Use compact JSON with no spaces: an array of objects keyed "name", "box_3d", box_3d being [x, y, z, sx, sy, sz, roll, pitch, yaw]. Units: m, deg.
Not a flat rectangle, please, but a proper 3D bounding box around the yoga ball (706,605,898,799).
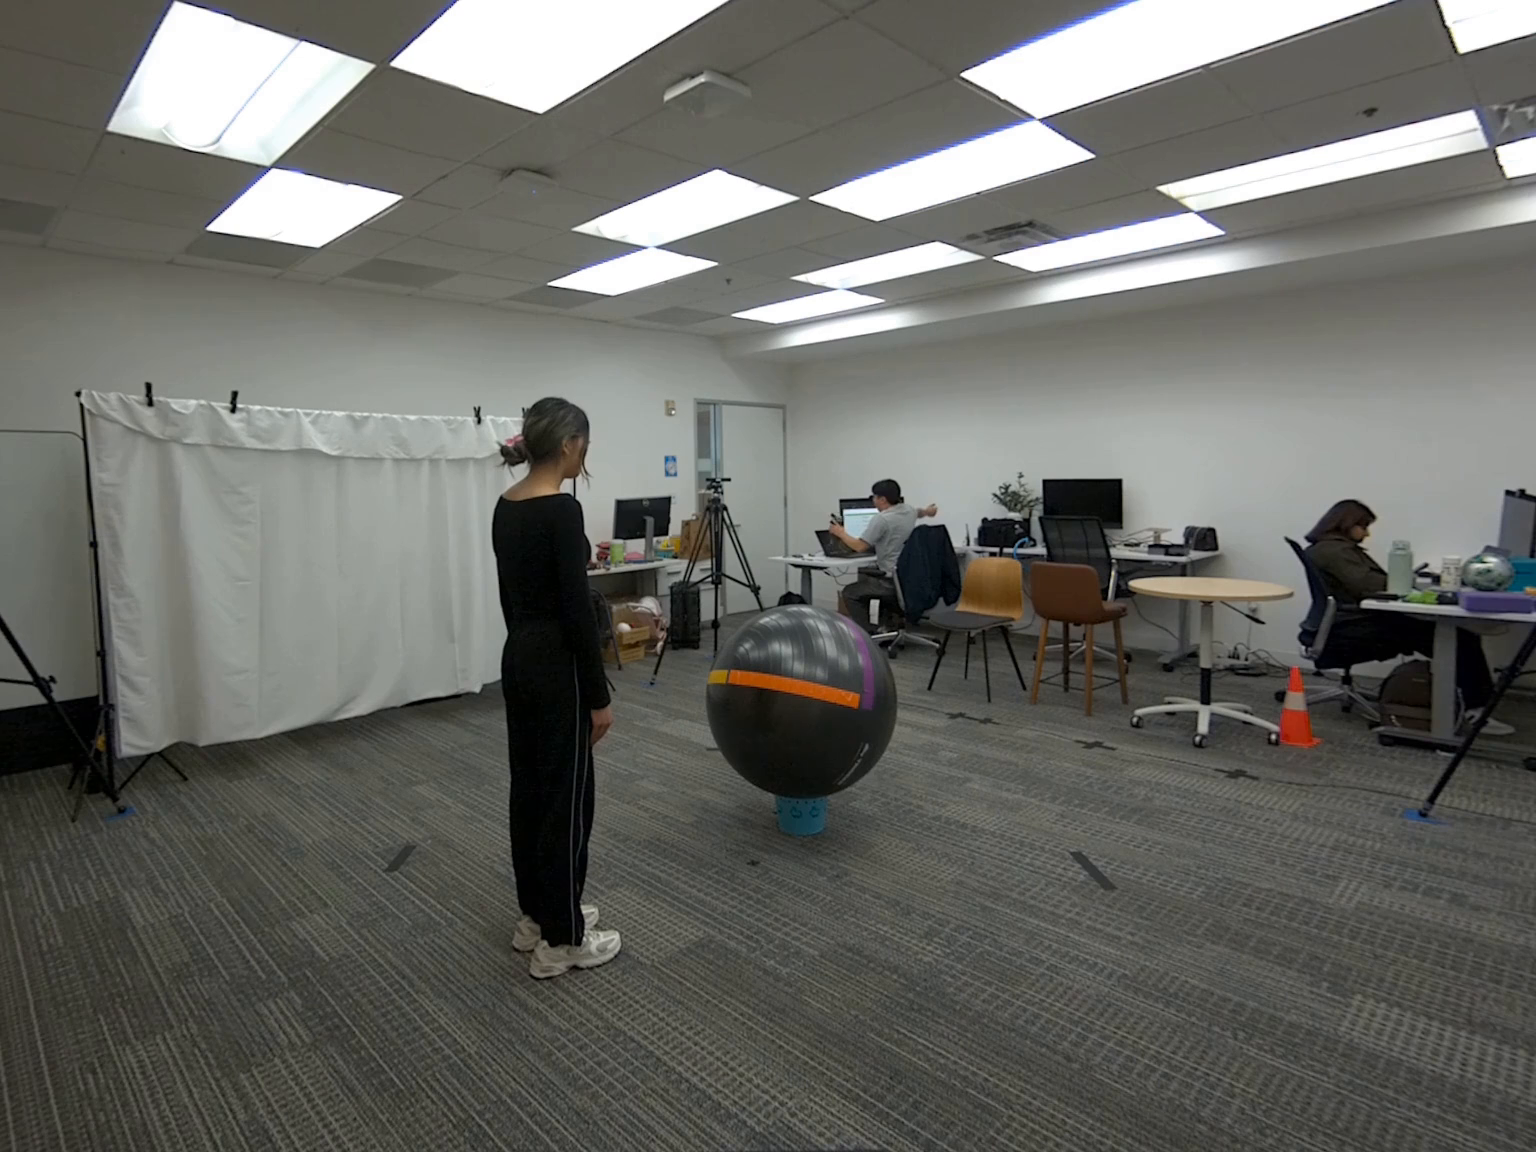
[{"name":"yoga ball","box_3d":[0.127,0.493,3.408,0.757,0.755,0.762,-1,5,-2]}]
